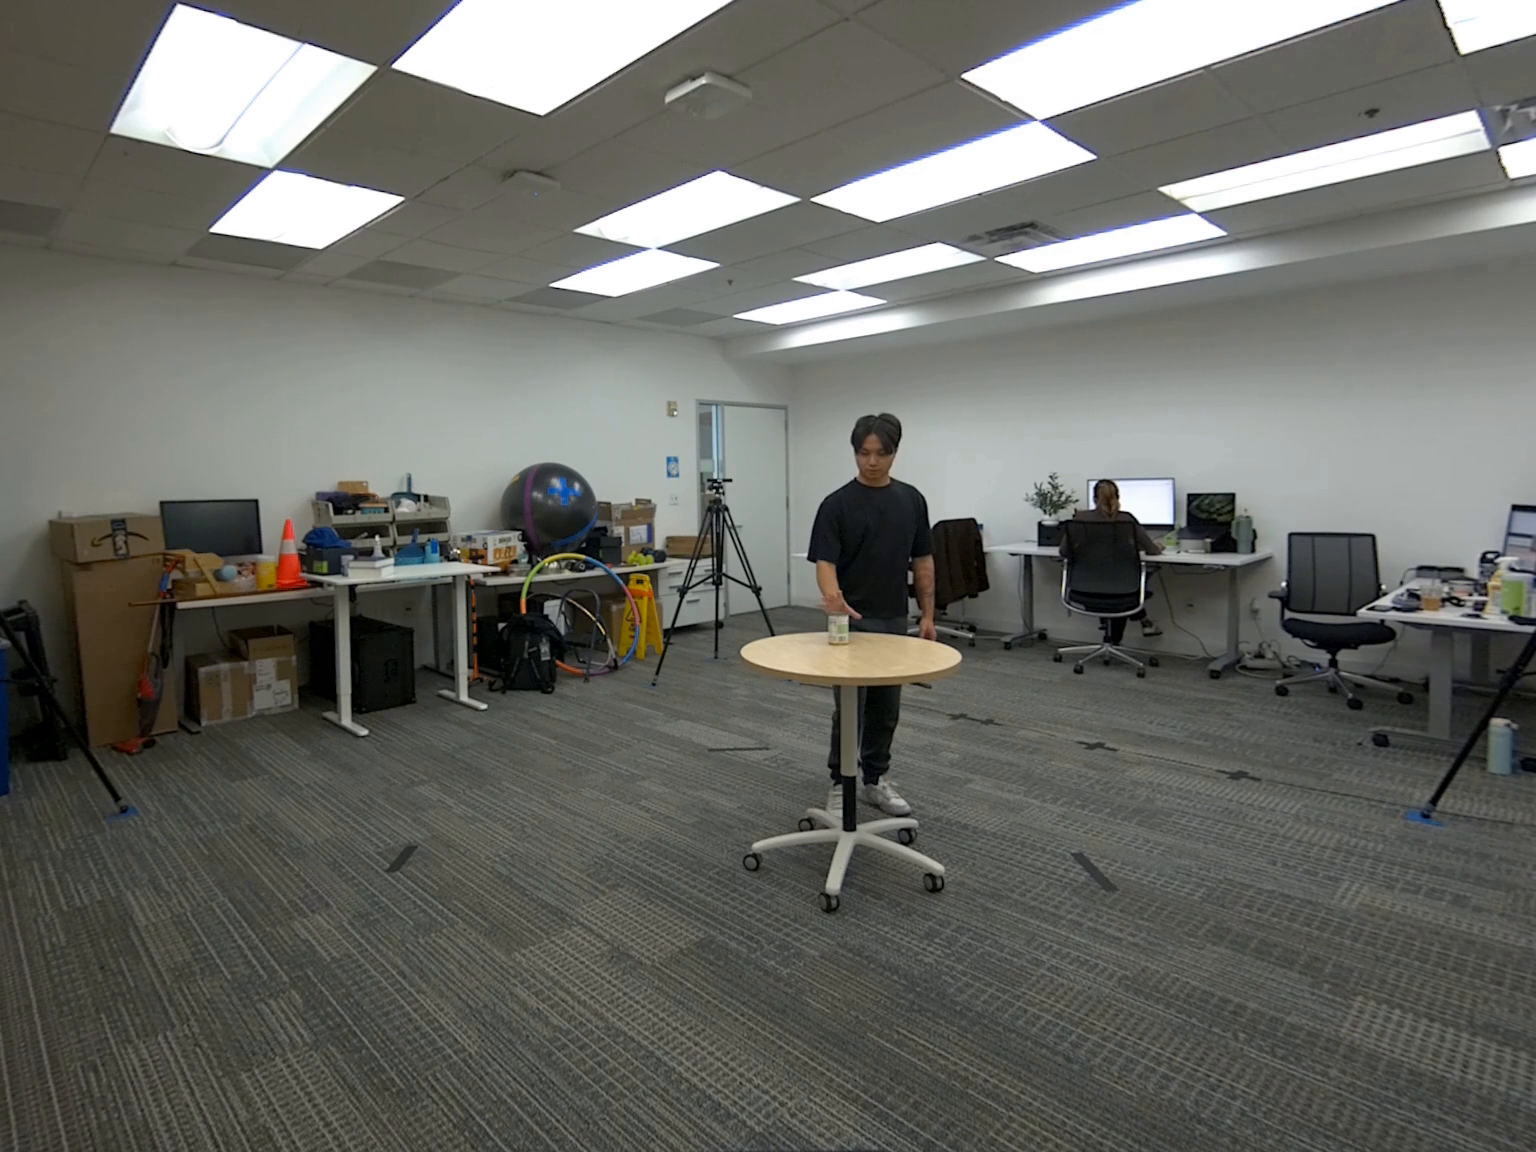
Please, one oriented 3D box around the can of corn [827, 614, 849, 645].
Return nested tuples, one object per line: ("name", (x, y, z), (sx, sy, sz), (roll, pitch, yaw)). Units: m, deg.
("can of corn", (0.262, 0.196, 3.148), (0.074, 0.111, 0.074), (0, 3, -2))
